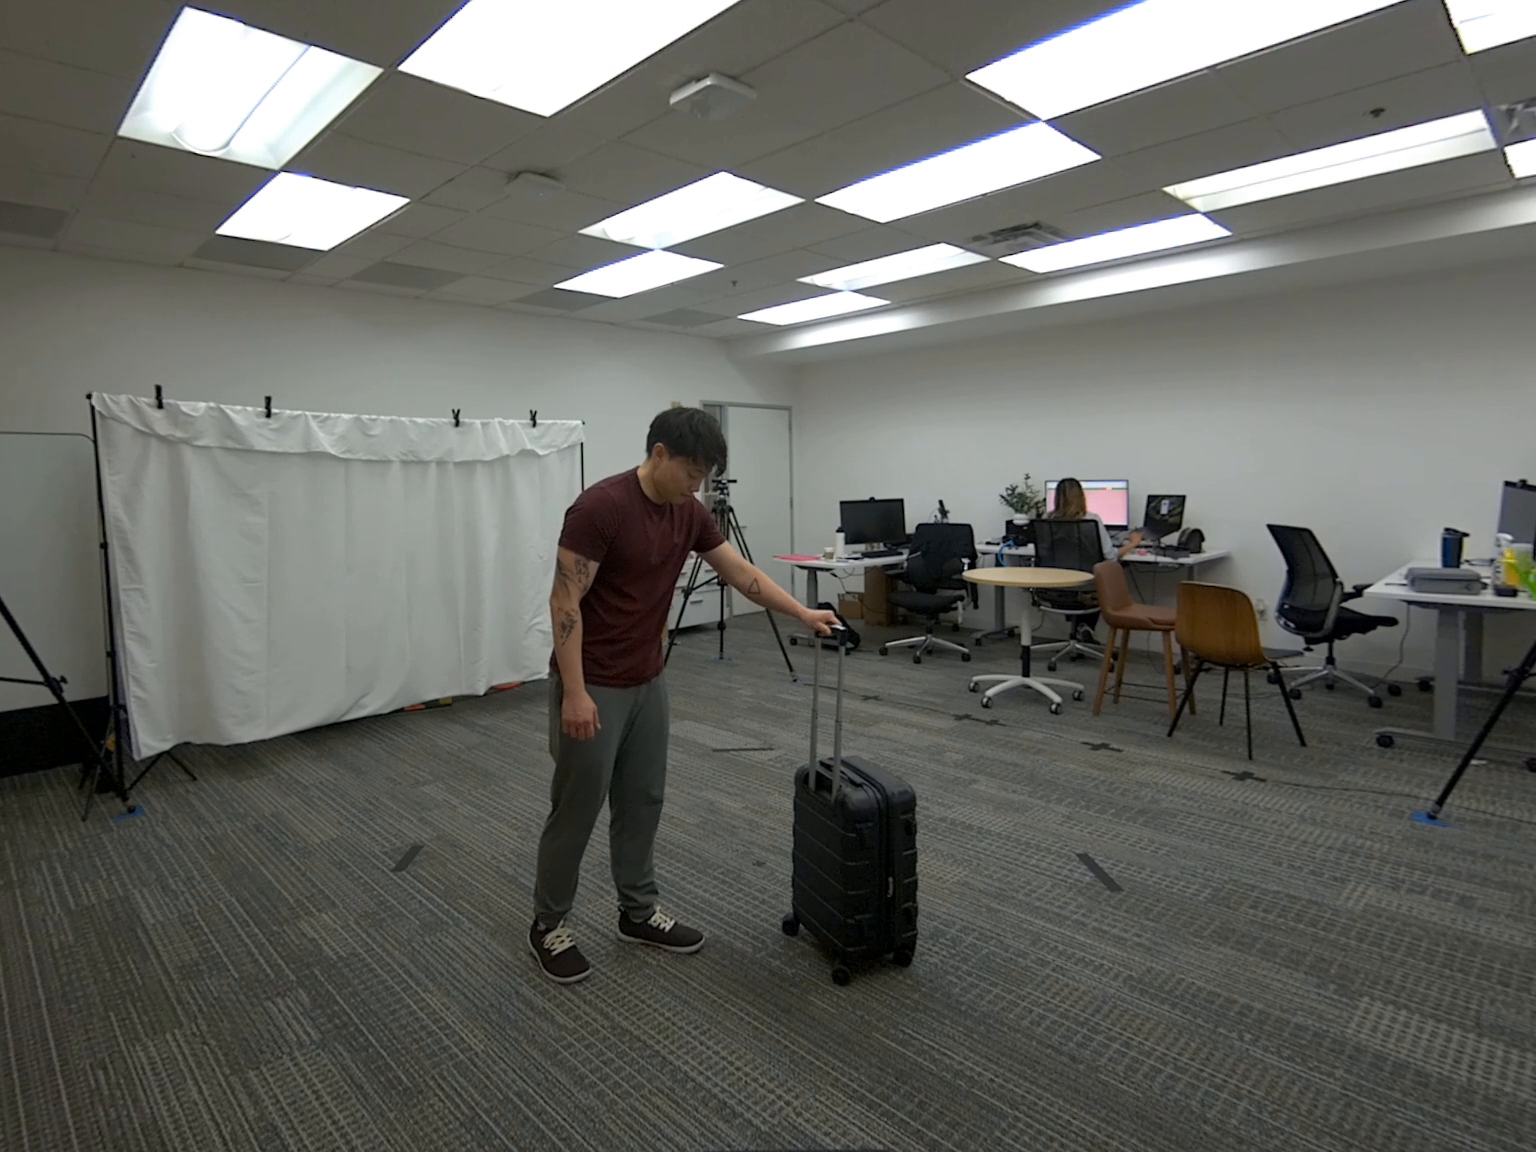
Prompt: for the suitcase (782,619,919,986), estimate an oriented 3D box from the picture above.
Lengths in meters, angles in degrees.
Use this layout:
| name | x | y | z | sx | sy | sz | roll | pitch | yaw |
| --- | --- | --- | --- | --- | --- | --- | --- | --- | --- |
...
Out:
| name | x | y | z | sx | sy | sz | roll | pitch | yaw |
| --- | --- | --- | --- | --- | --- | --- | --- | --- | --- |
| suitcase | 0.260 | 0.638 | 2.515 | 0.251 | 0.975 | 0.394 | 1 | 5 | -25 |
